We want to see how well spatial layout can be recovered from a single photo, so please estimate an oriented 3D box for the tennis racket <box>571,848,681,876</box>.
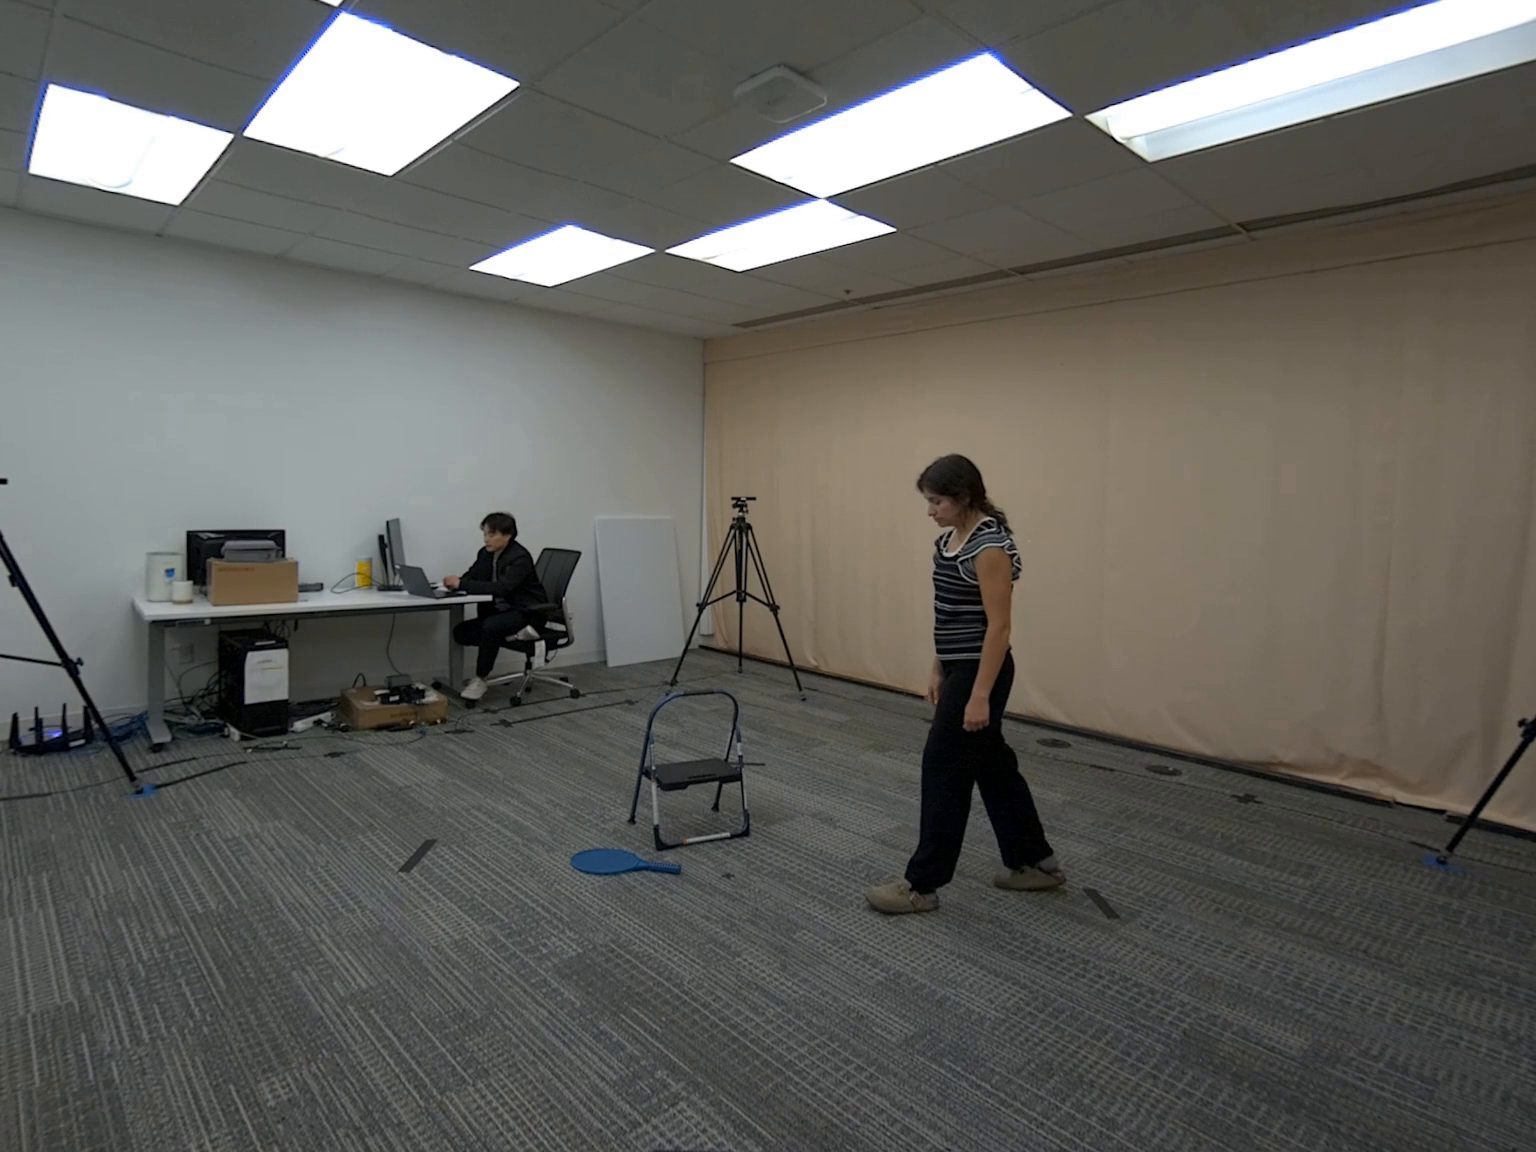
[{"bbox_3d":[-0.539,1.069,3.169,0.439,0.031,0.211,1,5,17],"label":"tennis racket"}]
